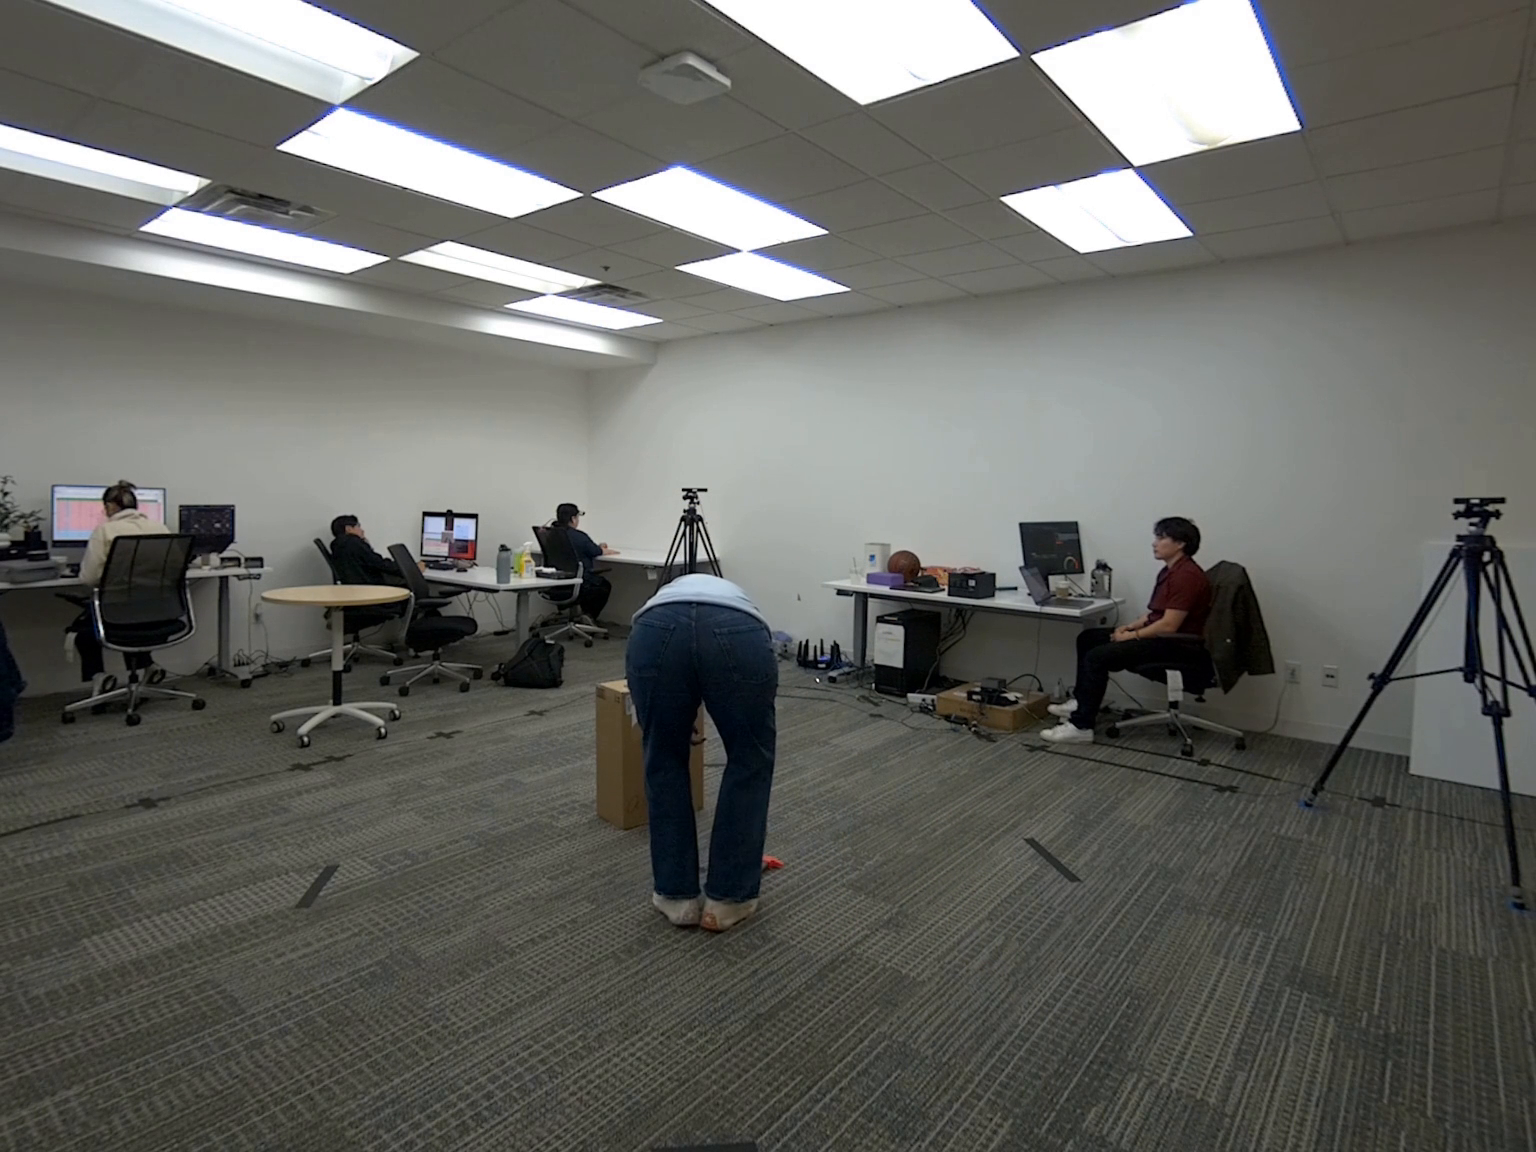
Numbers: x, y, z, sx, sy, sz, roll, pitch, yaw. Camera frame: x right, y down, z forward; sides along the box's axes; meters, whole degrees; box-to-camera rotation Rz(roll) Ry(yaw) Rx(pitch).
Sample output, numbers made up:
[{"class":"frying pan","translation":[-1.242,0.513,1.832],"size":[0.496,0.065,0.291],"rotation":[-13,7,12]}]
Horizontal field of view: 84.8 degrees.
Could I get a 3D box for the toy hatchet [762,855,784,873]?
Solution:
[{"class":"toy hatchet","translation":[-0.086,1.062,3.076],"size":[0.262,0.029,0.135],"rotation":[-8,10,-43]}]
